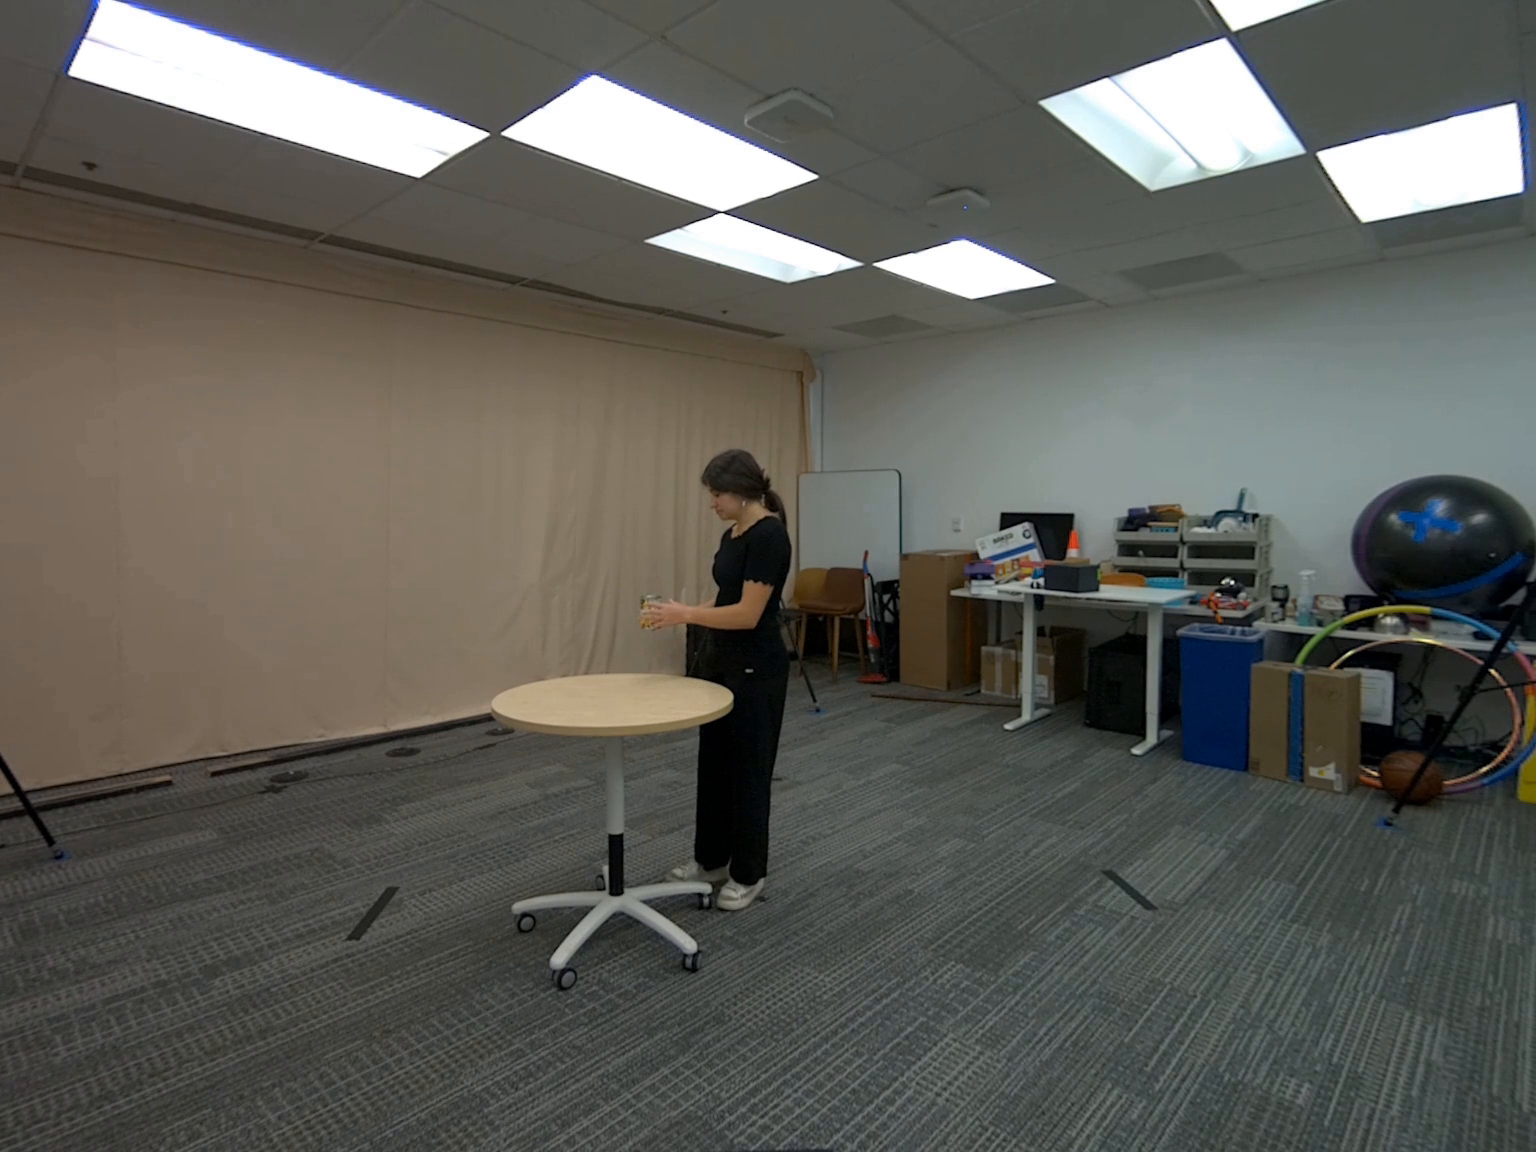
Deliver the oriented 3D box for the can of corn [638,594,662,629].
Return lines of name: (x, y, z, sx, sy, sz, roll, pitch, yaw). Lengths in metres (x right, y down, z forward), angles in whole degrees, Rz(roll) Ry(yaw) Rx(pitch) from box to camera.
can of corn: (-0.411, 0.130, 2.989, 0.074, 0.111, 0.074, -1, -1, -2)
